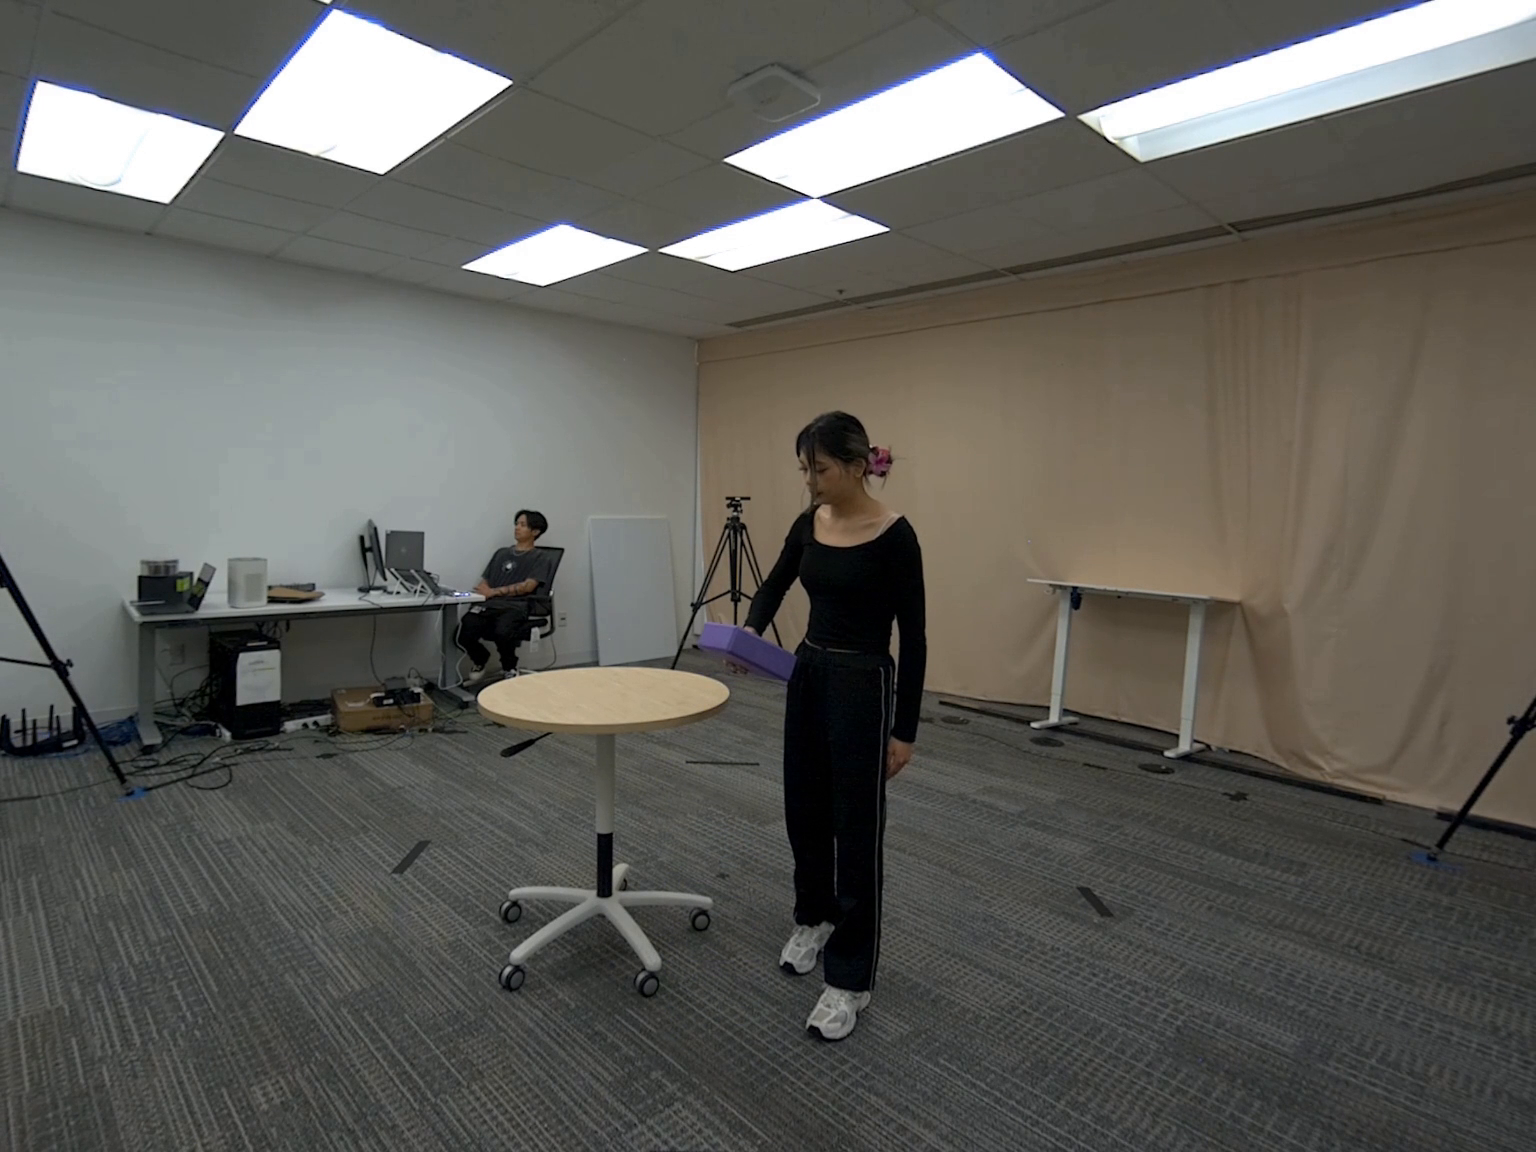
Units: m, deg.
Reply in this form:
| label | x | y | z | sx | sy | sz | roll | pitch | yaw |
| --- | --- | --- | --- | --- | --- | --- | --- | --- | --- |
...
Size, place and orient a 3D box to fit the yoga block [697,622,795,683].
| label | x | y | z | sx | sy | sz | roll | pitch | yaw |
| --- | --- | --- | --- | --- | --- | --- | --- | --- | --- |
| yoga block | -0.055 | 0.197 | 2.254 | 0.222 | 0.077 | 0.152 | 30 | -17 | -36 |
